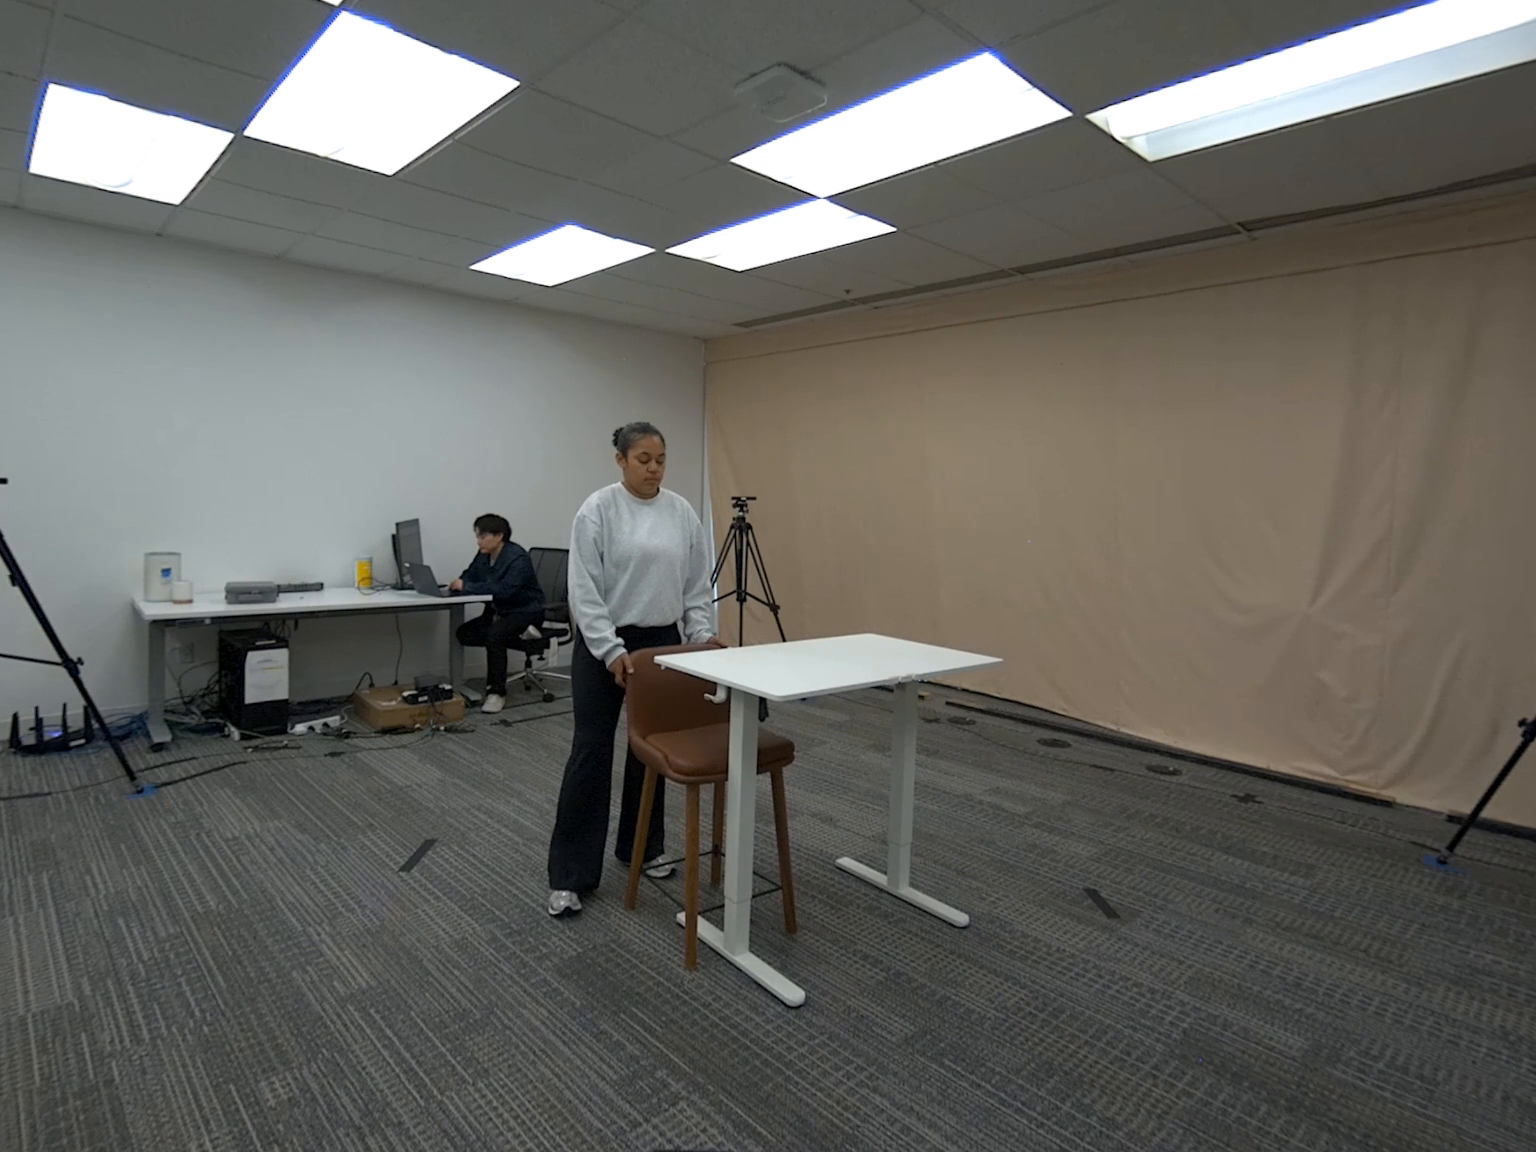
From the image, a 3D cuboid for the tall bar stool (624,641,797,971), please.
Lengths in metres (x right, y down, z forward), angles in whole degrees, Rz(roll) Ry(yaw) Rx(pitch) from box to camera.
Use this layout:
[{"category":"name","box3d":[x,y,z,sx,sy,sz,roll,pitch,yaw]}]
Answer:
[{"category":"tall bar stool","box3d":[-0.203,0.697,2.757,0.447,0.888,0.478,-2,3,-34]}]
